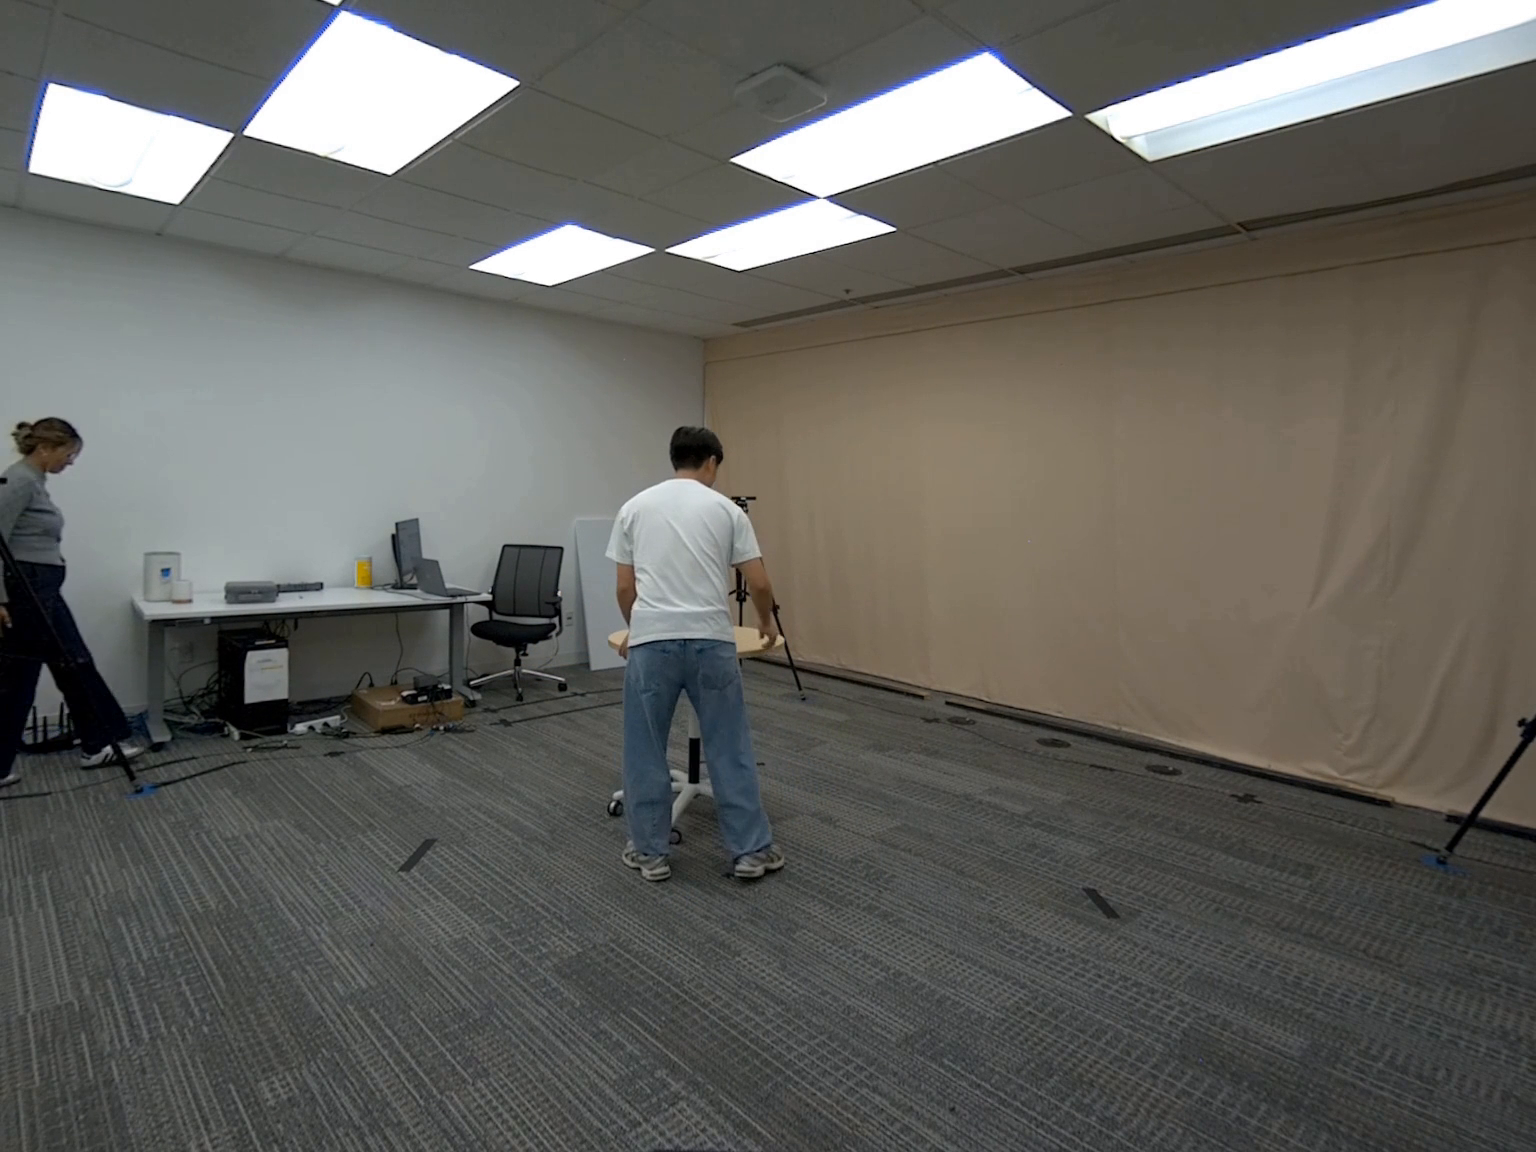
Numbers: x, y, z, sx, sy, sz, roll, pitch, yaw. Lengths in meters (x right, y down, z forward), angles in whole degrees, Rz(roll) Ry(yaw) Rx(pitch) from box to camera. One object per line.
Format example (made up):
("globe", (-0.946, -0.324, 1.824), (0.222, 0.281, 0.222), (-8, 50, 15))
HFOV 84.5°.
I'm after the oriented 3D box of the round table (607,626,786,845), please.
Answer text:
("round table", (-0.343, 0.661, 3.694), (0.784, 0.784, 0.788), (2, 4, -1))
